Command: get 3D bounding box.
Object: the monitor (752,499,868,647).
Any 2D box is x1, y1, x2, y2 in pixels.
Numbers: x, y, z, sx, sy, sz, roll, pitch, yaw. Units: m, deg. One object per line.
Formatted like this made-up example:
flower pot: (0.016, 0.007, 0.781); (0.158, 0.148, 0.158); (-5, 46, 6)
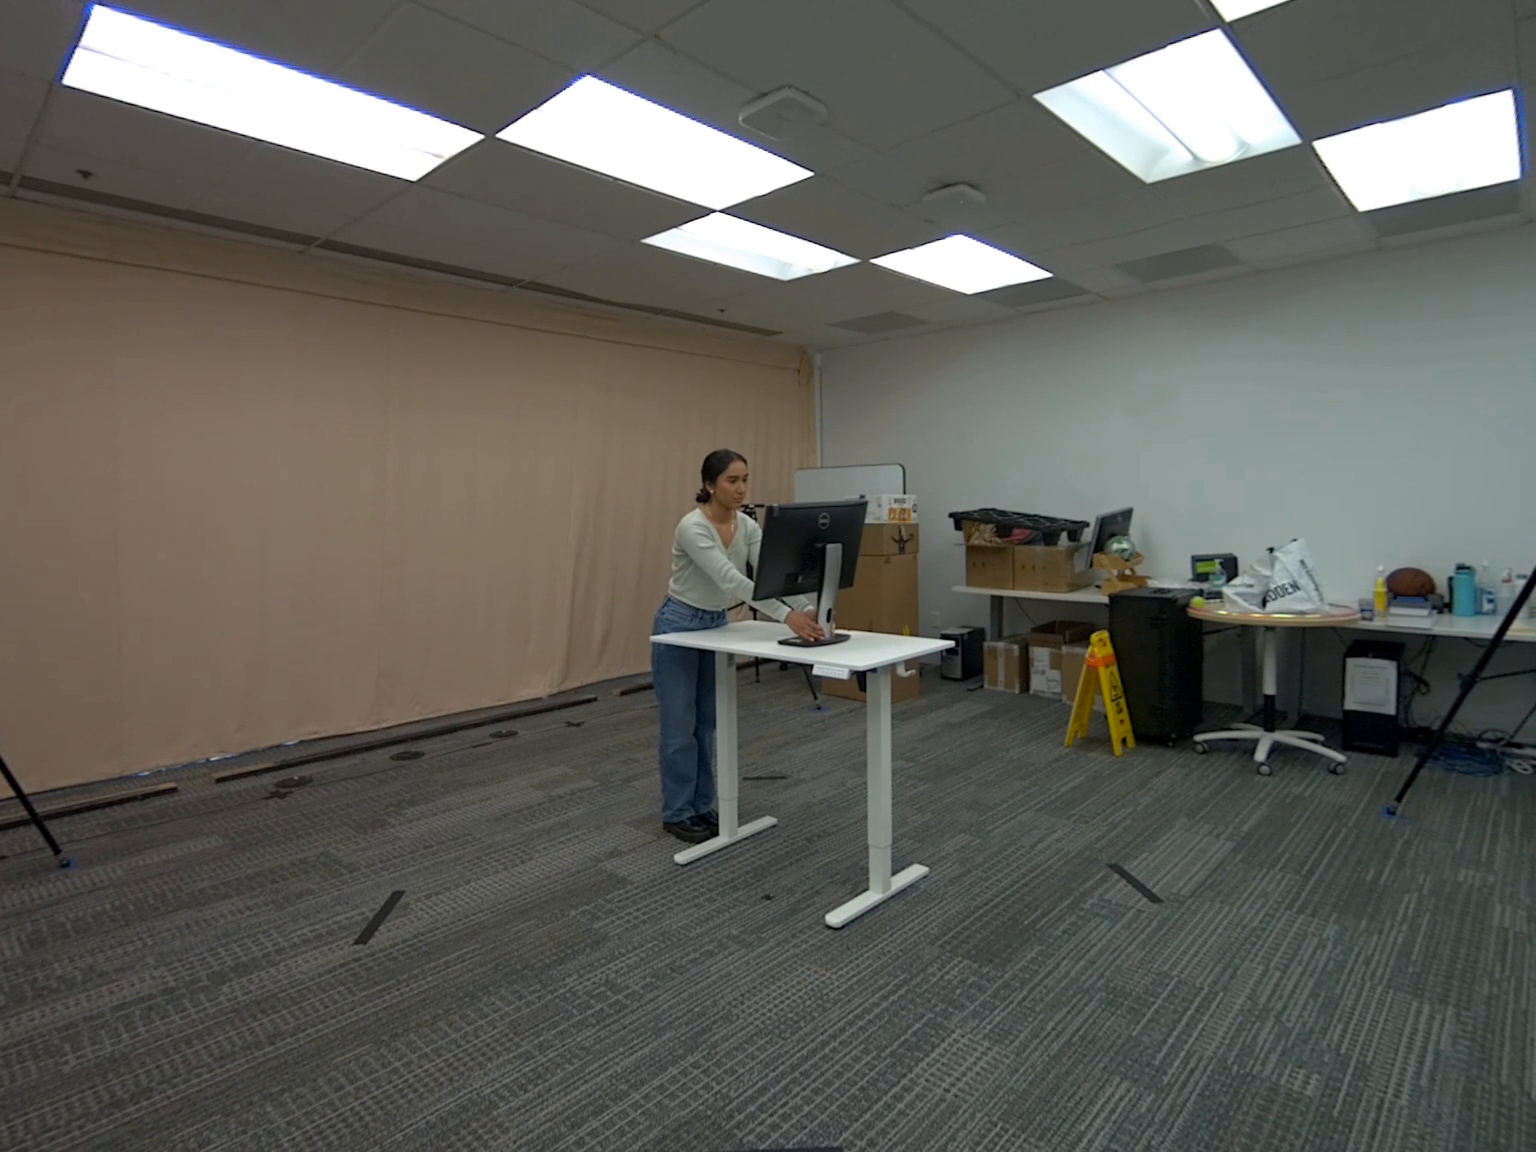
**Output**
monitor: (0.186, -0.010, 3.088); (0.523, 0.521, 0.193); (-6, 7, -43)
